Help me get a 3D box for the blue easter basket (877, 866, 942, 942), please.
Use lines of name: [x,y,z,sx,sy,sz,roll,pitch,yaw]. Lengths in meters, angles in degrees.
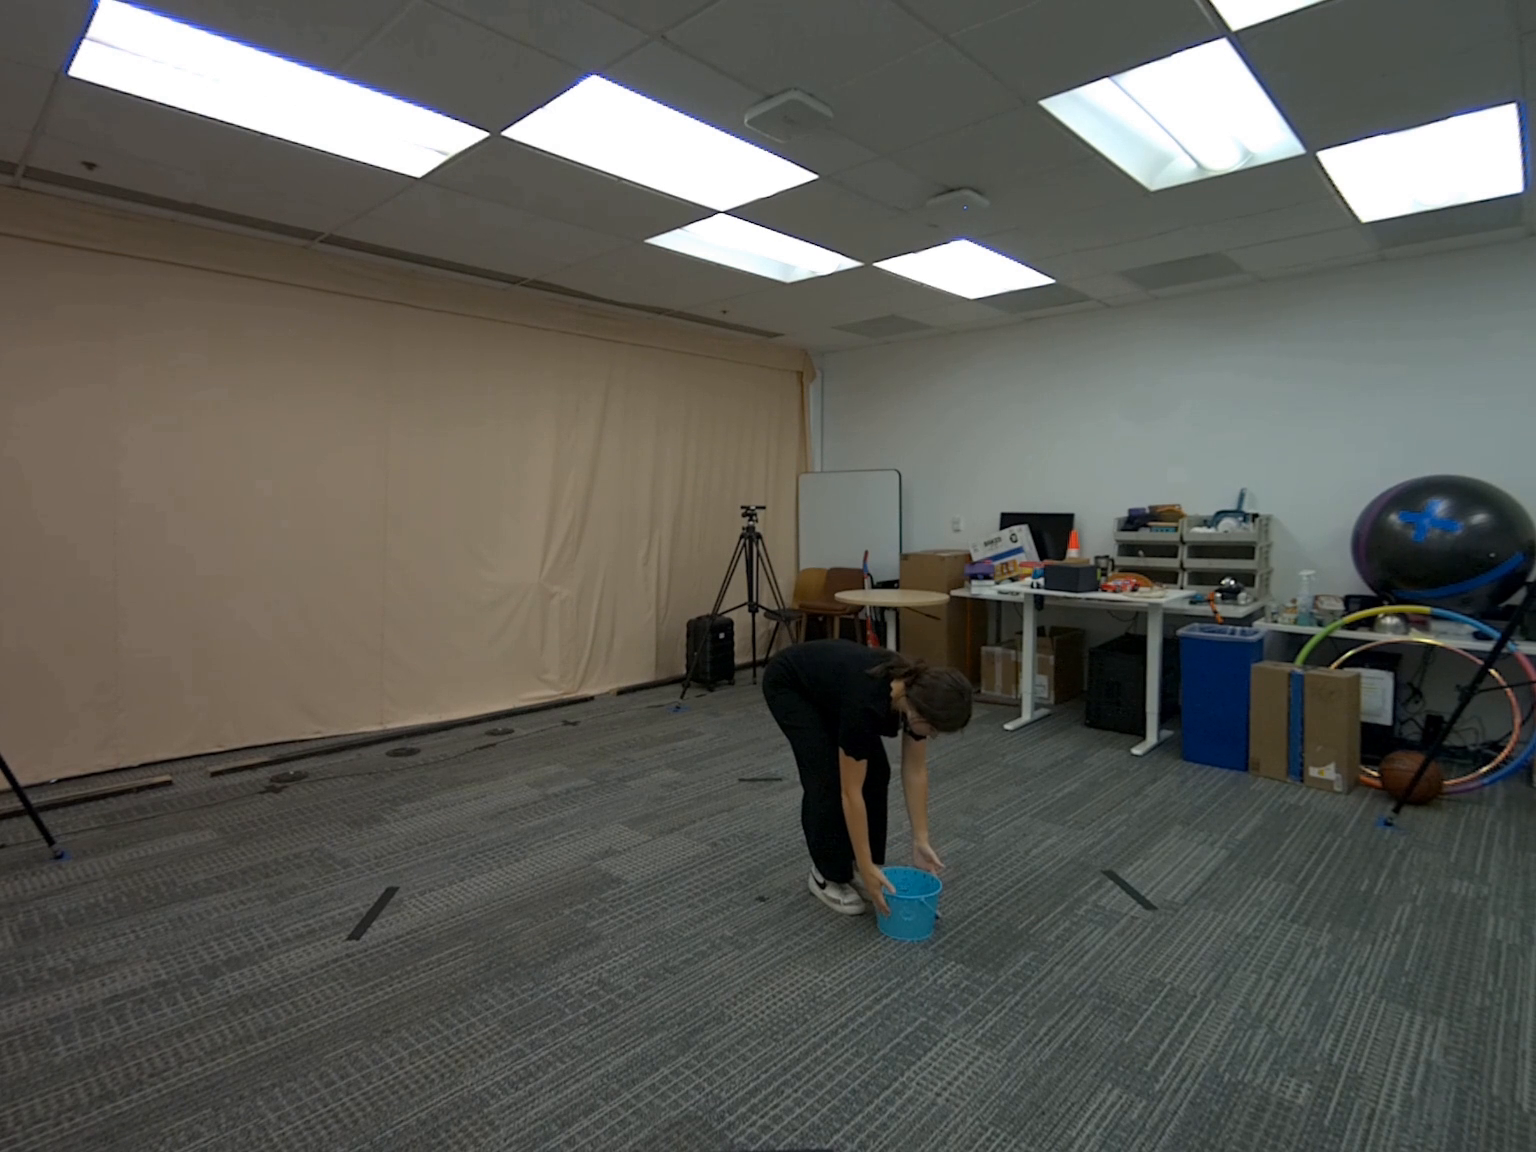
blue easter basket: [0.460,1.078,2.775,0.243,0.155,0.244,-1,5,-2]
